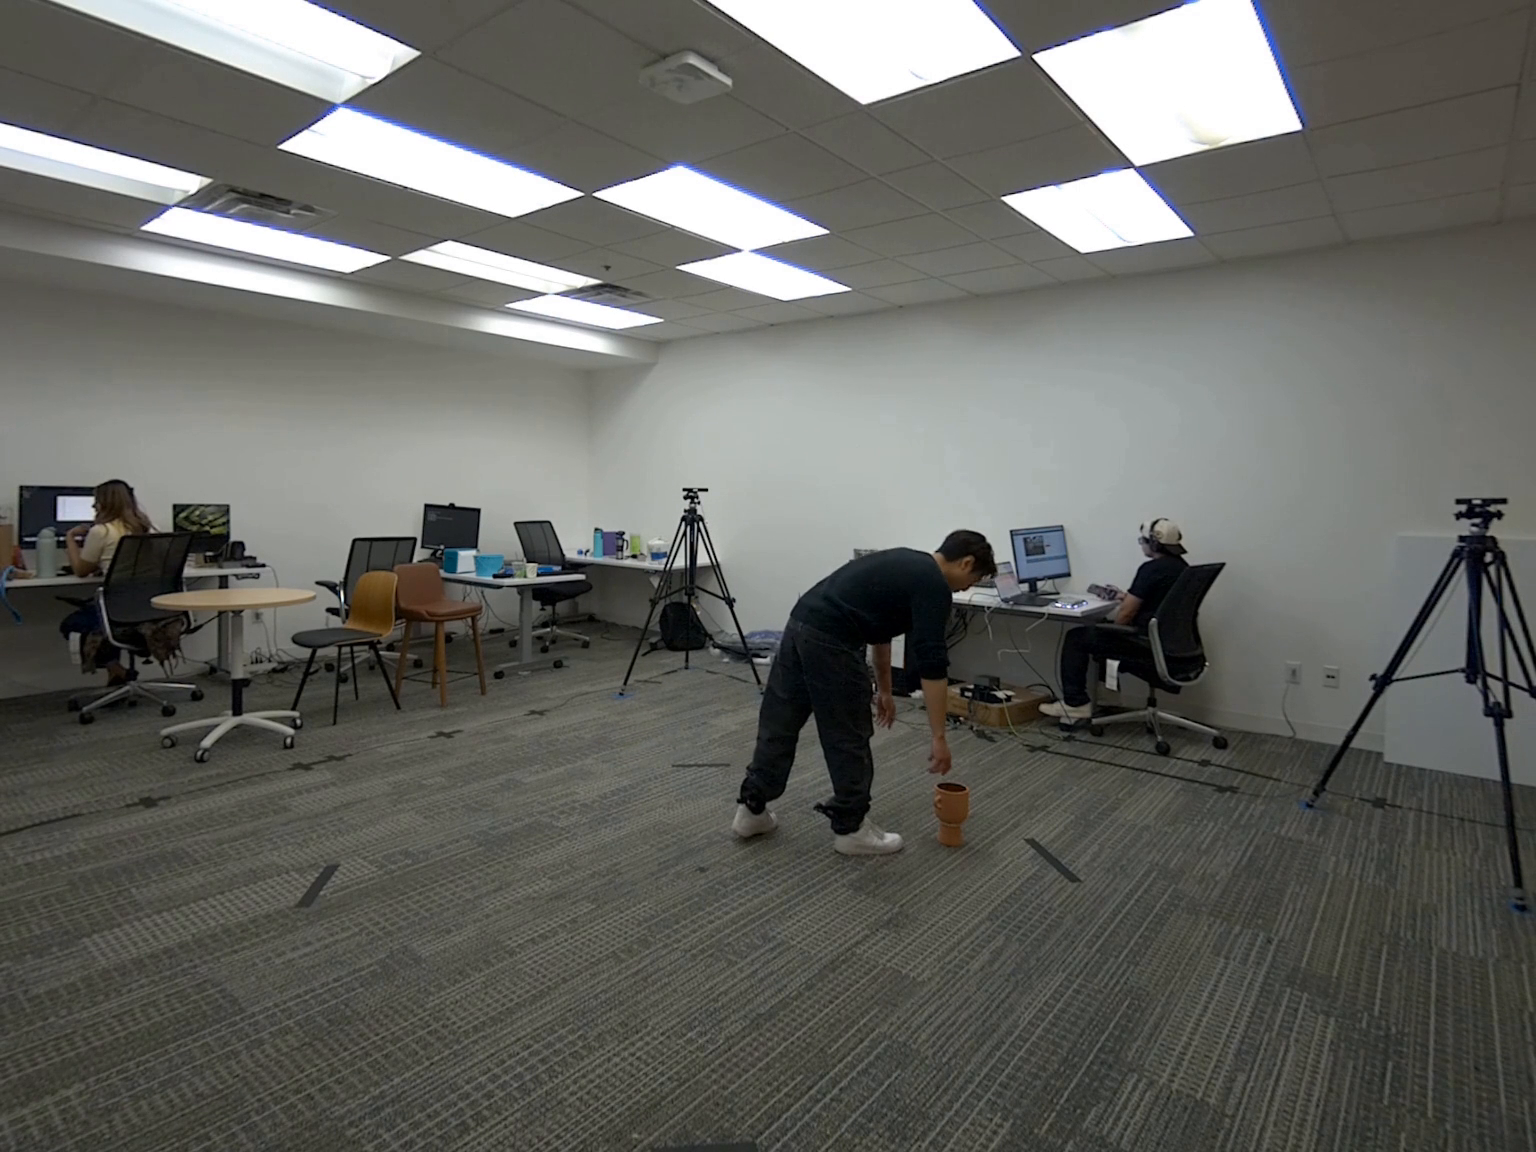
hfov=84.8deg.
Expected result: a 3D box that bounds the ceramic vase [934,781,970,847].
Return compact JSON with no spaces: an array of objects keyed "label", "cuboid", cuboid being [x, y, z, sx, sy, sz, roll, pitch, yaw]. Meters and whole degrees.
[{"label":"ceramic vase","cuboid":[0.728,0.952,3.413,0.159,0.219,0.135,1,4,3]}]
